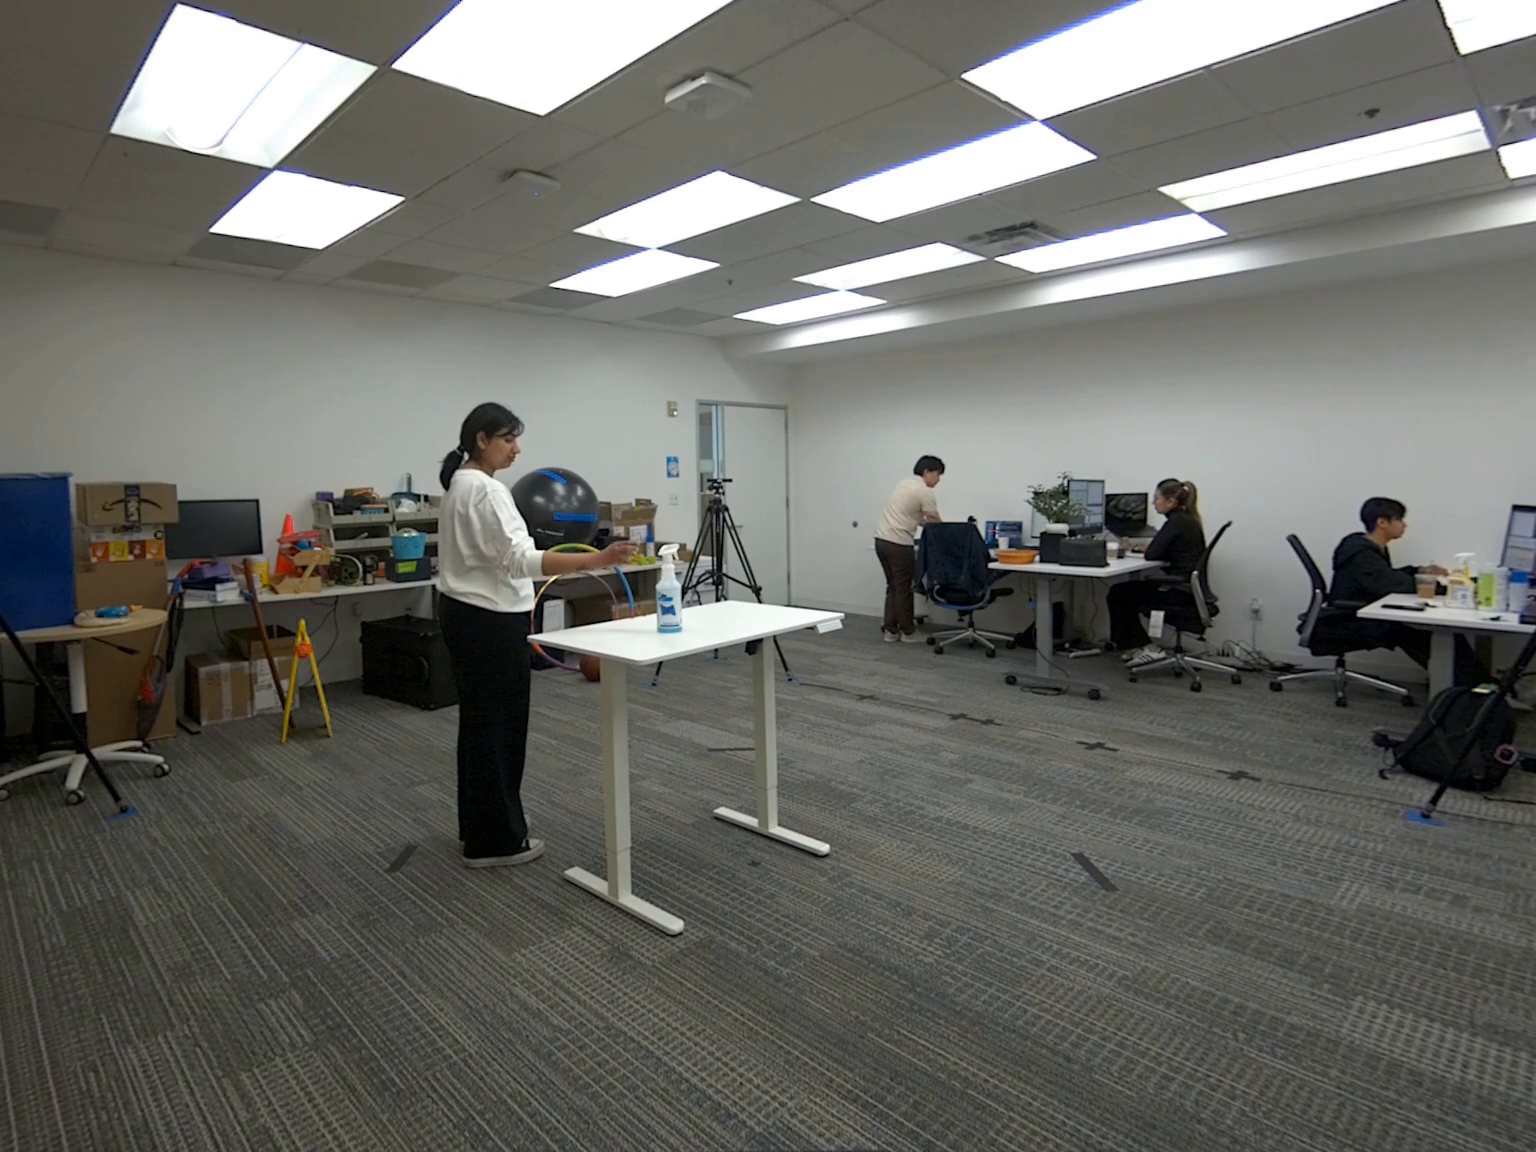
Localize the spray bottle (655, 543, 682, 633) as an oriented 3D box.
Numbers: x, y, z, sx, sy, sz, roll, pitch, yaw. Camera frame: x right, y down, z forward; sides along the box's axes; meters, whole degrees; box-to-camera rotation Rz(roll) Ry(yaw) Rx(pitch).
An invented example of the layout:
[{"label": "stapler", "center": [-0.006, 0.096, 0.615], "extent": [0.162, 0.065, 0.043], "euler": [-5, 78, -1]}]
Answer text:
[{"label": "spray bottle", "center": [-0.344, 0.044, 2.924], "extent": [0.088, 0.296, 0.089], "euler": [-2, 3, -25]}]
